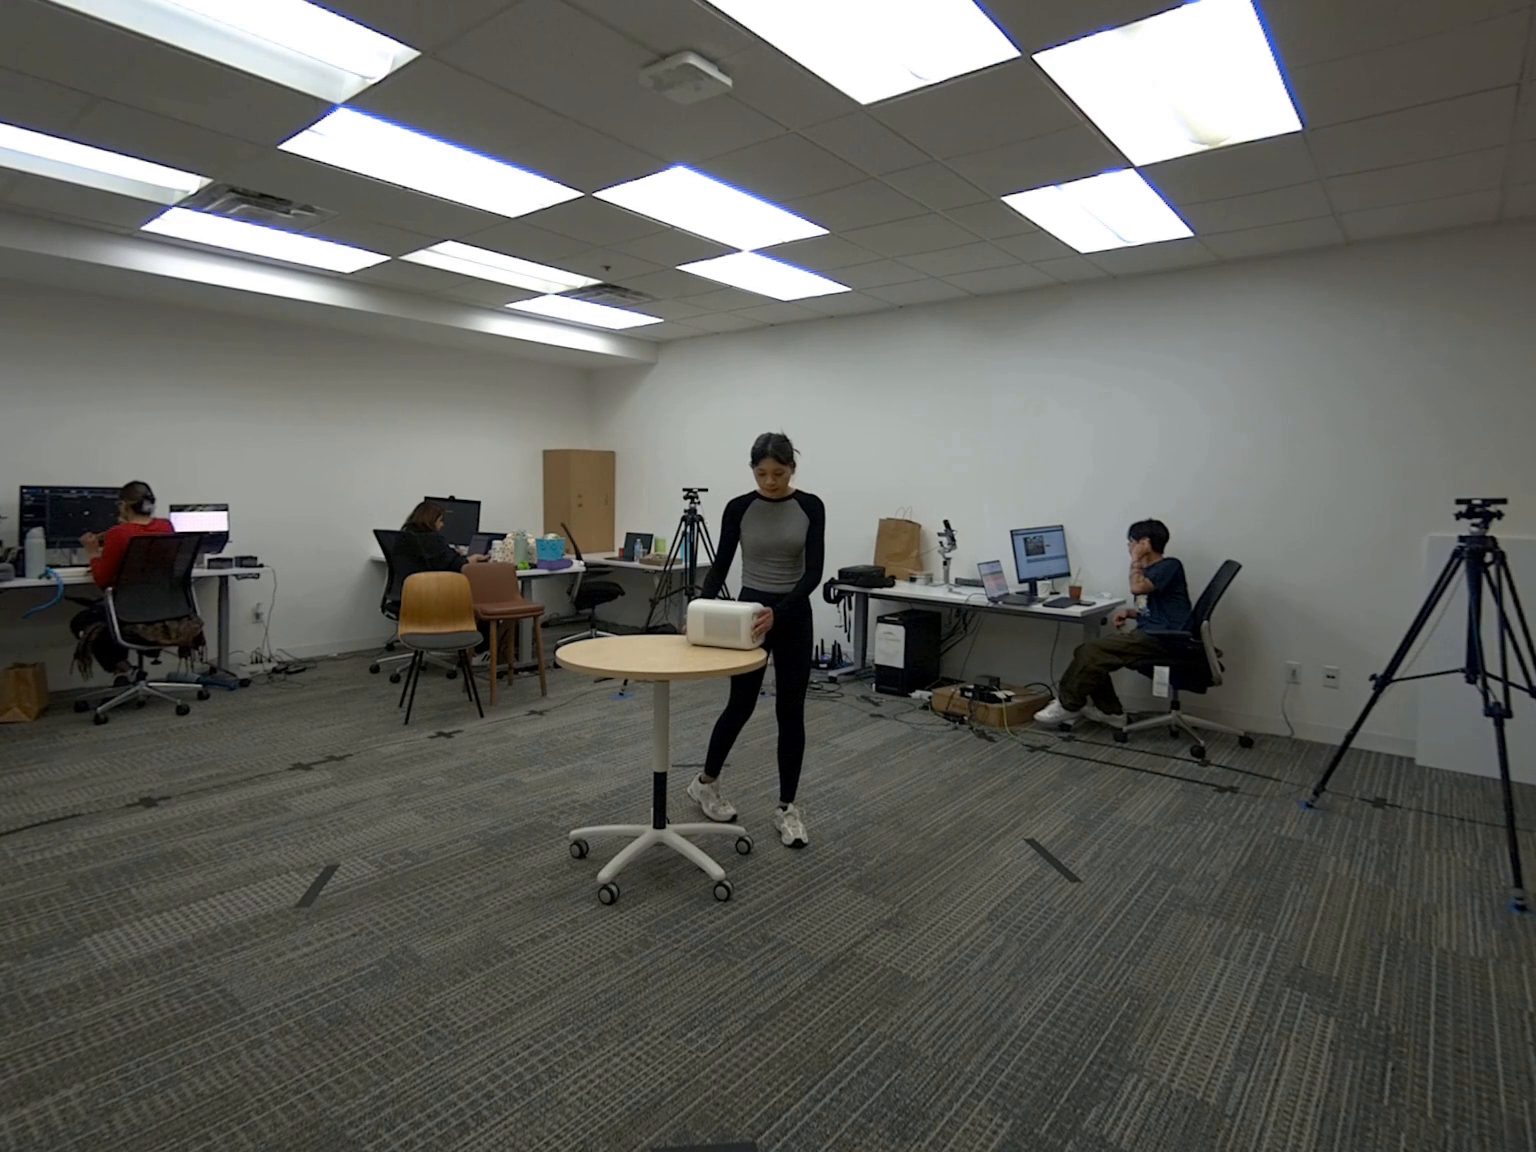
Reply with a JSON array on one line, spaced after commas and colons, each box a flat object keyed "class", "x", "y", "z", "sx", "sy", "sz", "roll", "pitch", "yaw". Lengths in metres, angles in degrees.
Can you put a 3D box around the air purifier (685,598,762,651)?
[{"class": "air purifier", "x": -0.171, "y": 0.178, "z": 3.239, "sx": 0.272, "sy": 0.171, "sz": 0.167, "roll": 3, "pitch": 3, "yaw": 24}]
